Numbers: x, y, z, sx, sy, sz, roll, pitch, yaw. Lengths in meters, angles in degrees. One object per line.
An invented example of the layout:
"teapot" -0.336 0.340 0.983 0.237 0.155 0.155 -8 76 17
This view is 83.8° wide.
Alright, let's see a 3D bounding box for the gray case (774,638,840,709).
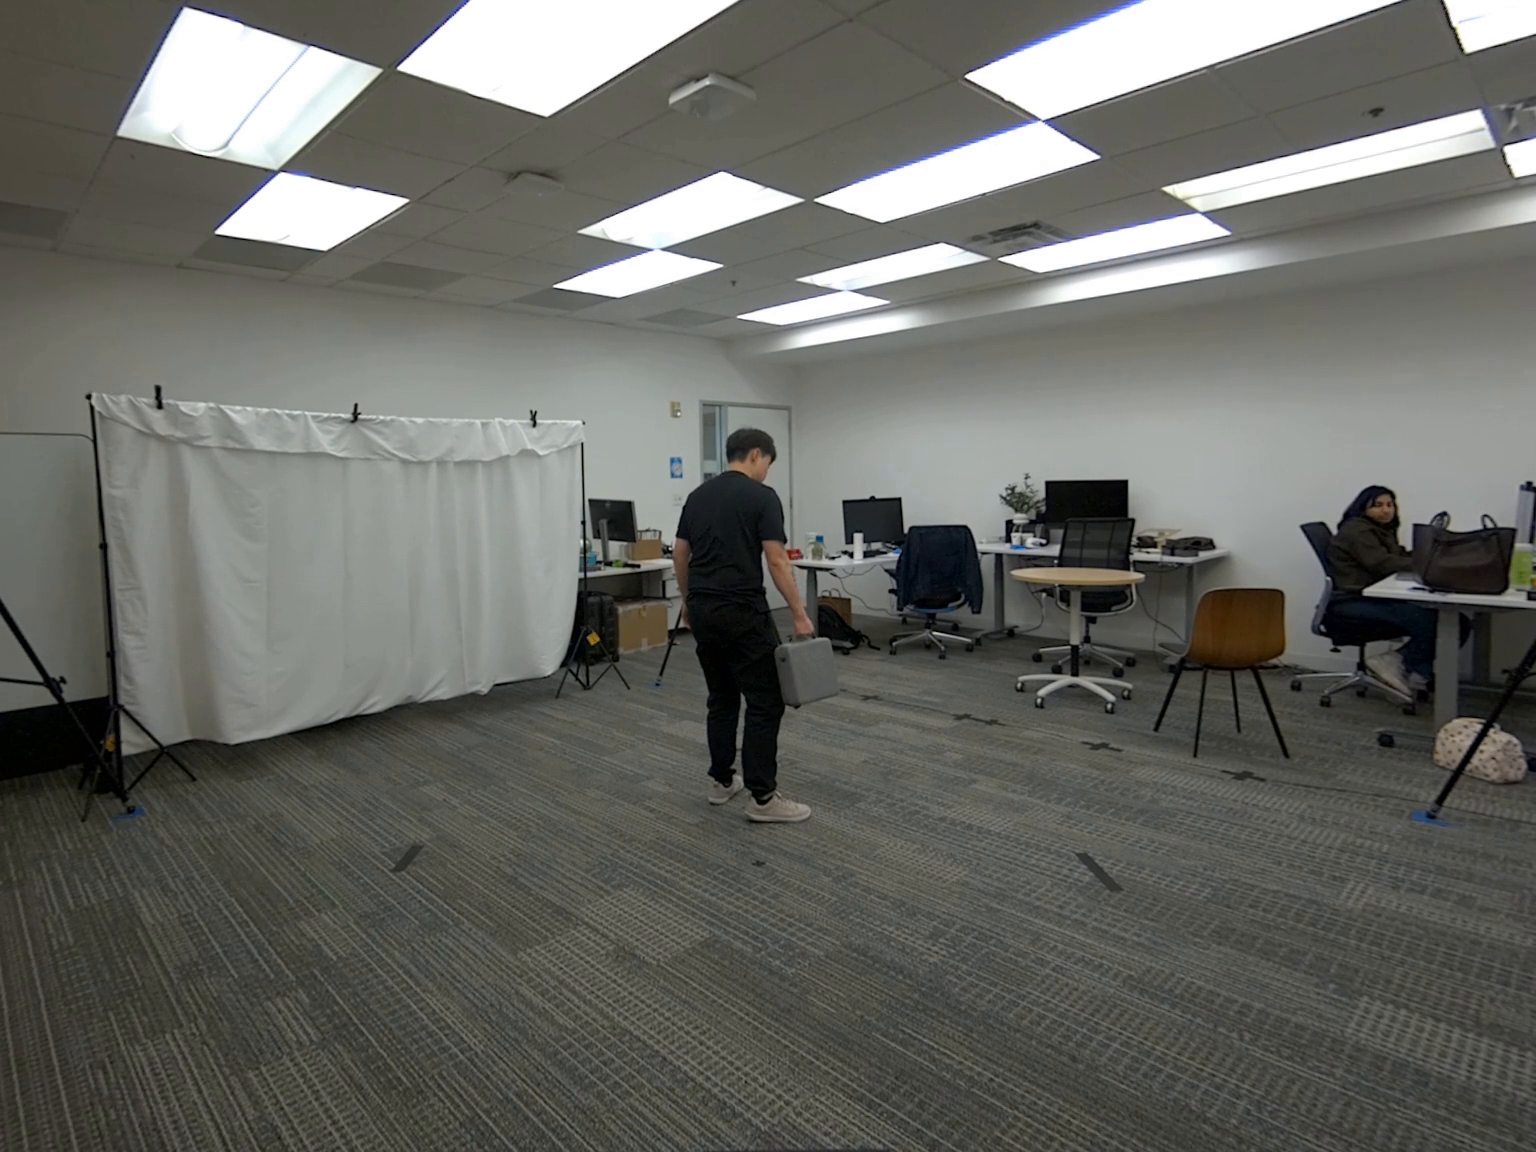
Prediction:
"gray case" 0.159 0.391 3.552 0.250 0.262 0.106 -6 -4 -36
